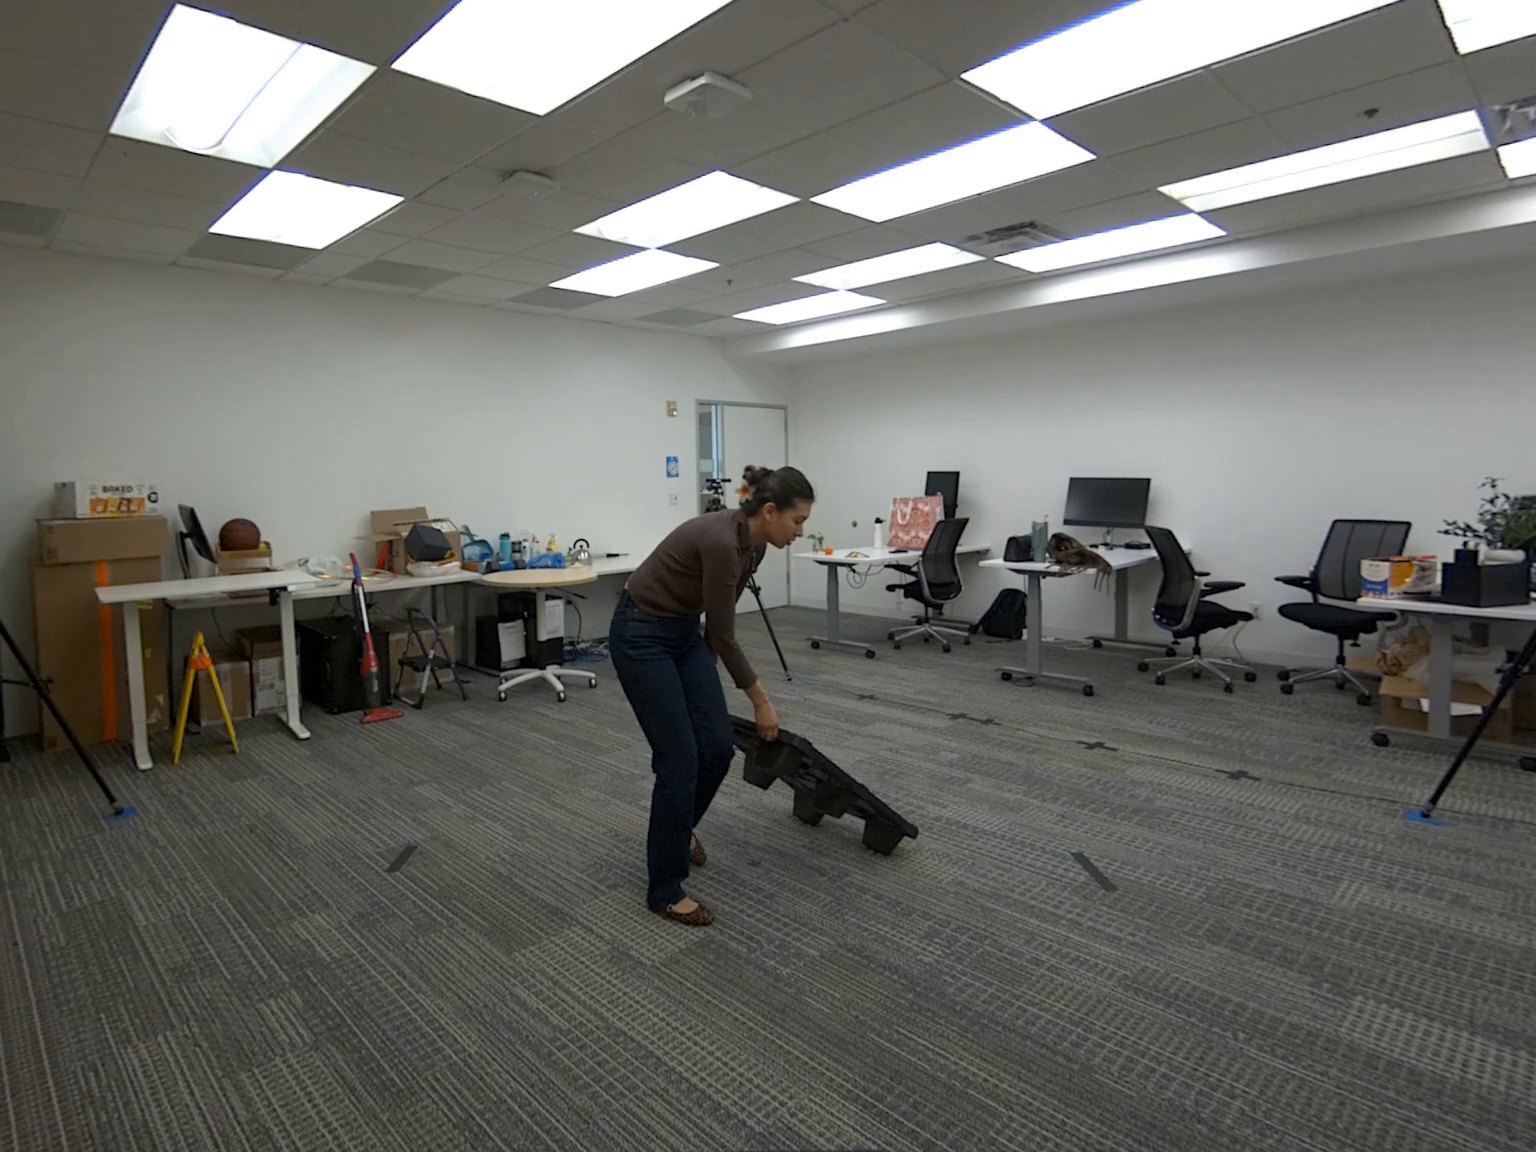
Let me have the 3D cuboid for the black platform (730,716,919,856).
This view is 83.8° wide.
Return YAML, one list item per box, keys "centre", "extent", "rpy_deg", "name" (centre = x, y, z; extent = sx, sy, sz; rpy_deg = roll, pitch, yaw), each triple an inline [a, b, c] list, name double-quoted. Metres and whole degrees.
- centre: [0.104, 0.756, 3.156]
  extent: [0.624, 0.144, 0.776]
  rpy_deg: [5, -31, 49]
  name: "black platform"
